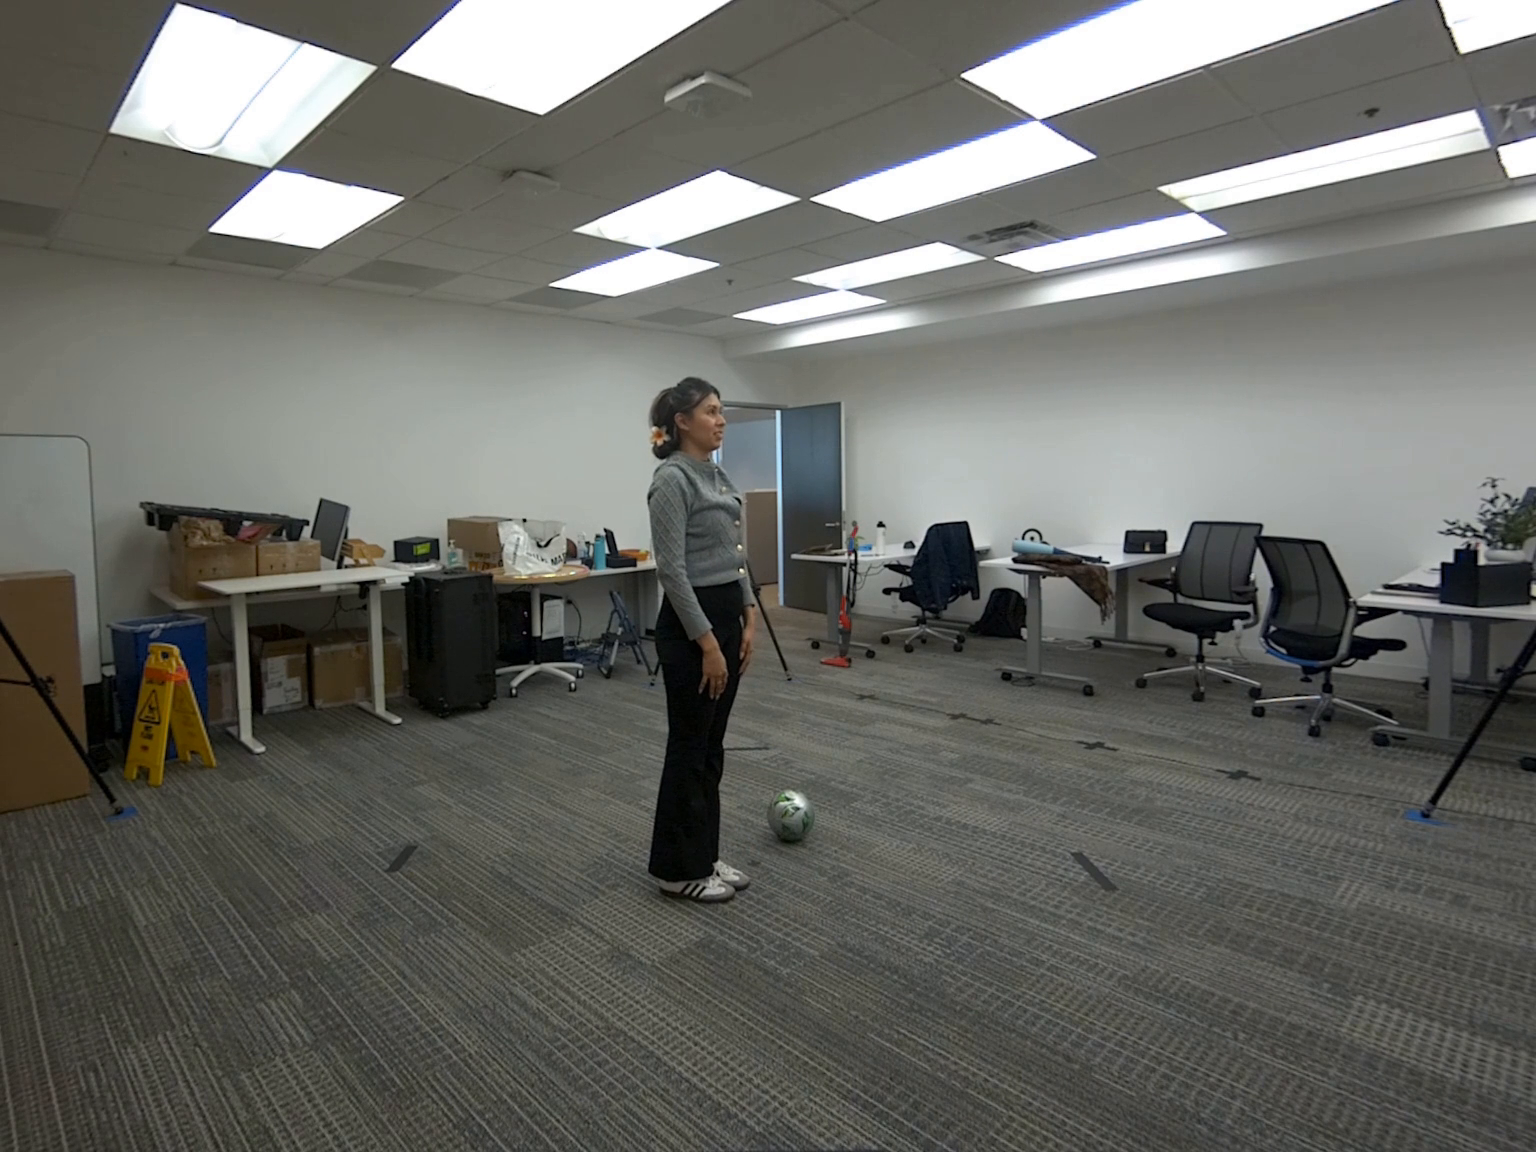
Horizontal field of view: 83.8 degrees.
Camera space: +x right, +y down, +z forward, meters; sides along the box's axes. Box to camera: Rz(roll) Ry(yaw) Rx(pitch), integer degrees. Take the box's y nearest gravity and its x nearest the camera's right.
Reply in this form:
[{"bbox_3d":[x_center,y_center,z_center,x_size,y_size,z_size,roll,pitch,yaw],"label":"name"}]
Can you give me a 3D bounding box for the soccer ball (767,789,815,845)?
[{"bbox_3d":[0.087,0.921,3.308,0.187,0.187,0.188,-1,5,-2],"label":"soccer ball"}]
